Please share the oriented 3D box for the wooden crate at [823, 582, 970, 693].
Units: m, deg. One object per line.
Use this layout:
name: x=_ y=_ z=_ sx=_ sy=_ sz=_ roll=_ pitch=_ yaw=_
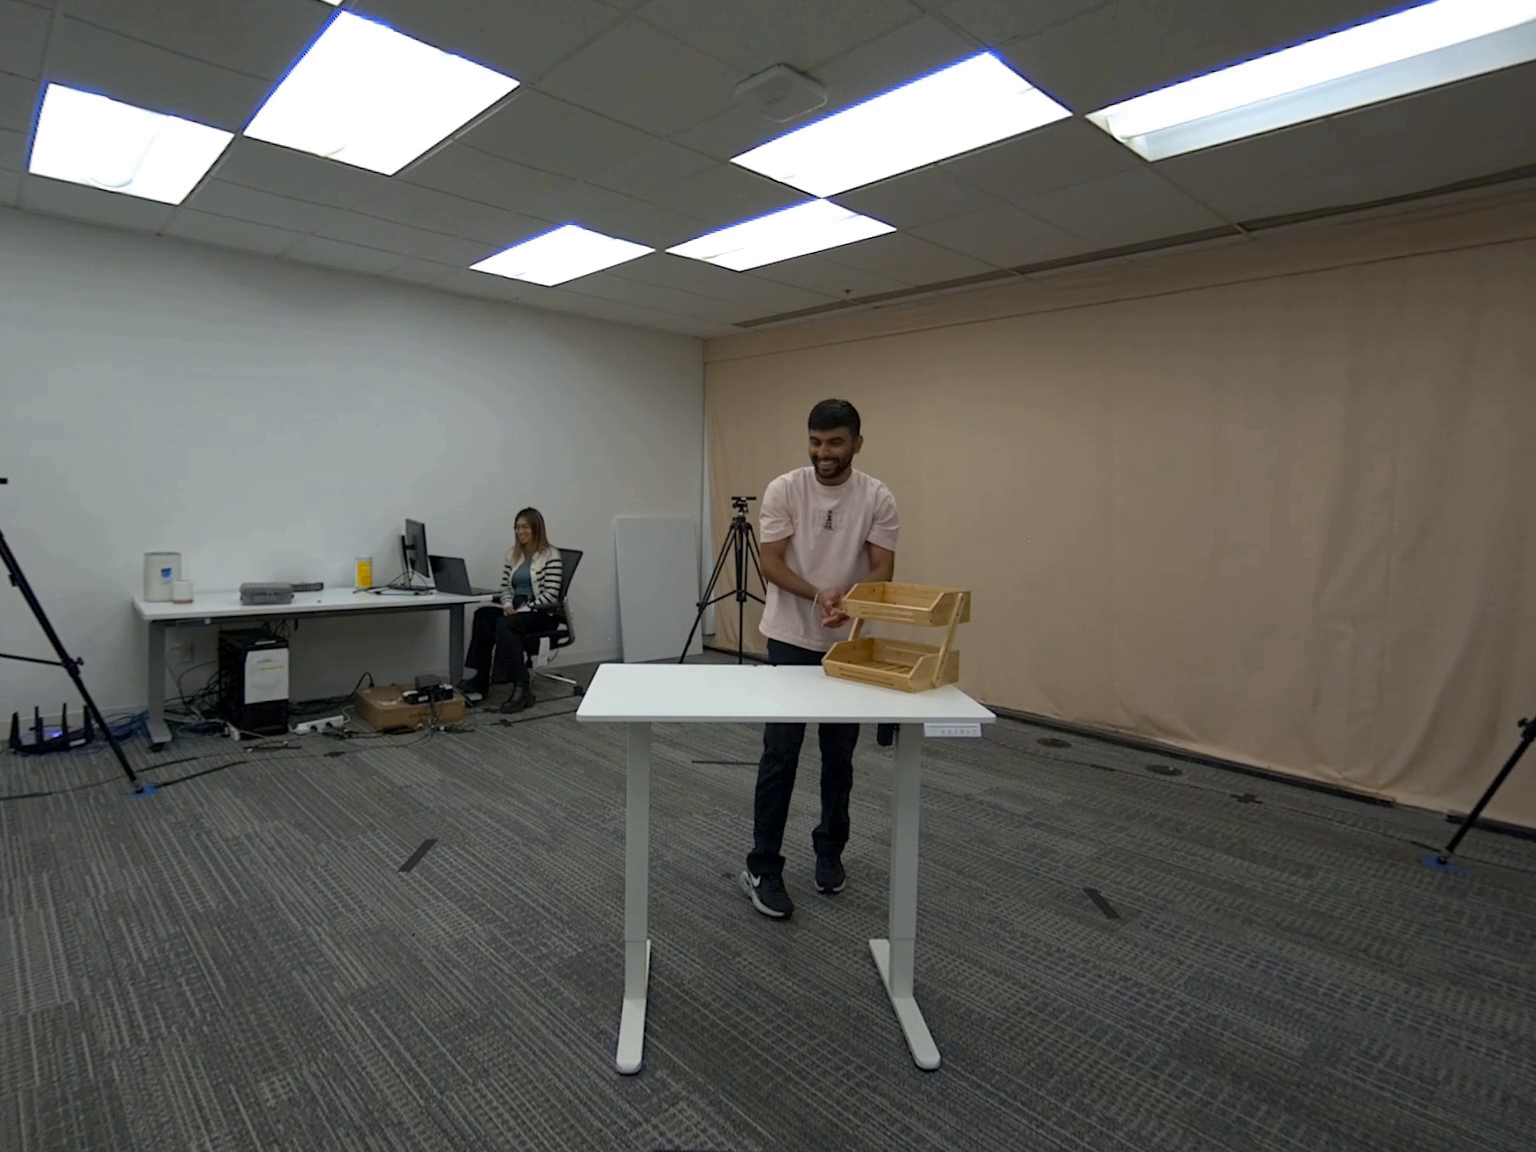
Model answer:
wooden crate: x=0.363 y=0.164 z=2.430 sx=0.333 sy=0.273 sz=0.295 roll=5 pitch=5 yaw=44
